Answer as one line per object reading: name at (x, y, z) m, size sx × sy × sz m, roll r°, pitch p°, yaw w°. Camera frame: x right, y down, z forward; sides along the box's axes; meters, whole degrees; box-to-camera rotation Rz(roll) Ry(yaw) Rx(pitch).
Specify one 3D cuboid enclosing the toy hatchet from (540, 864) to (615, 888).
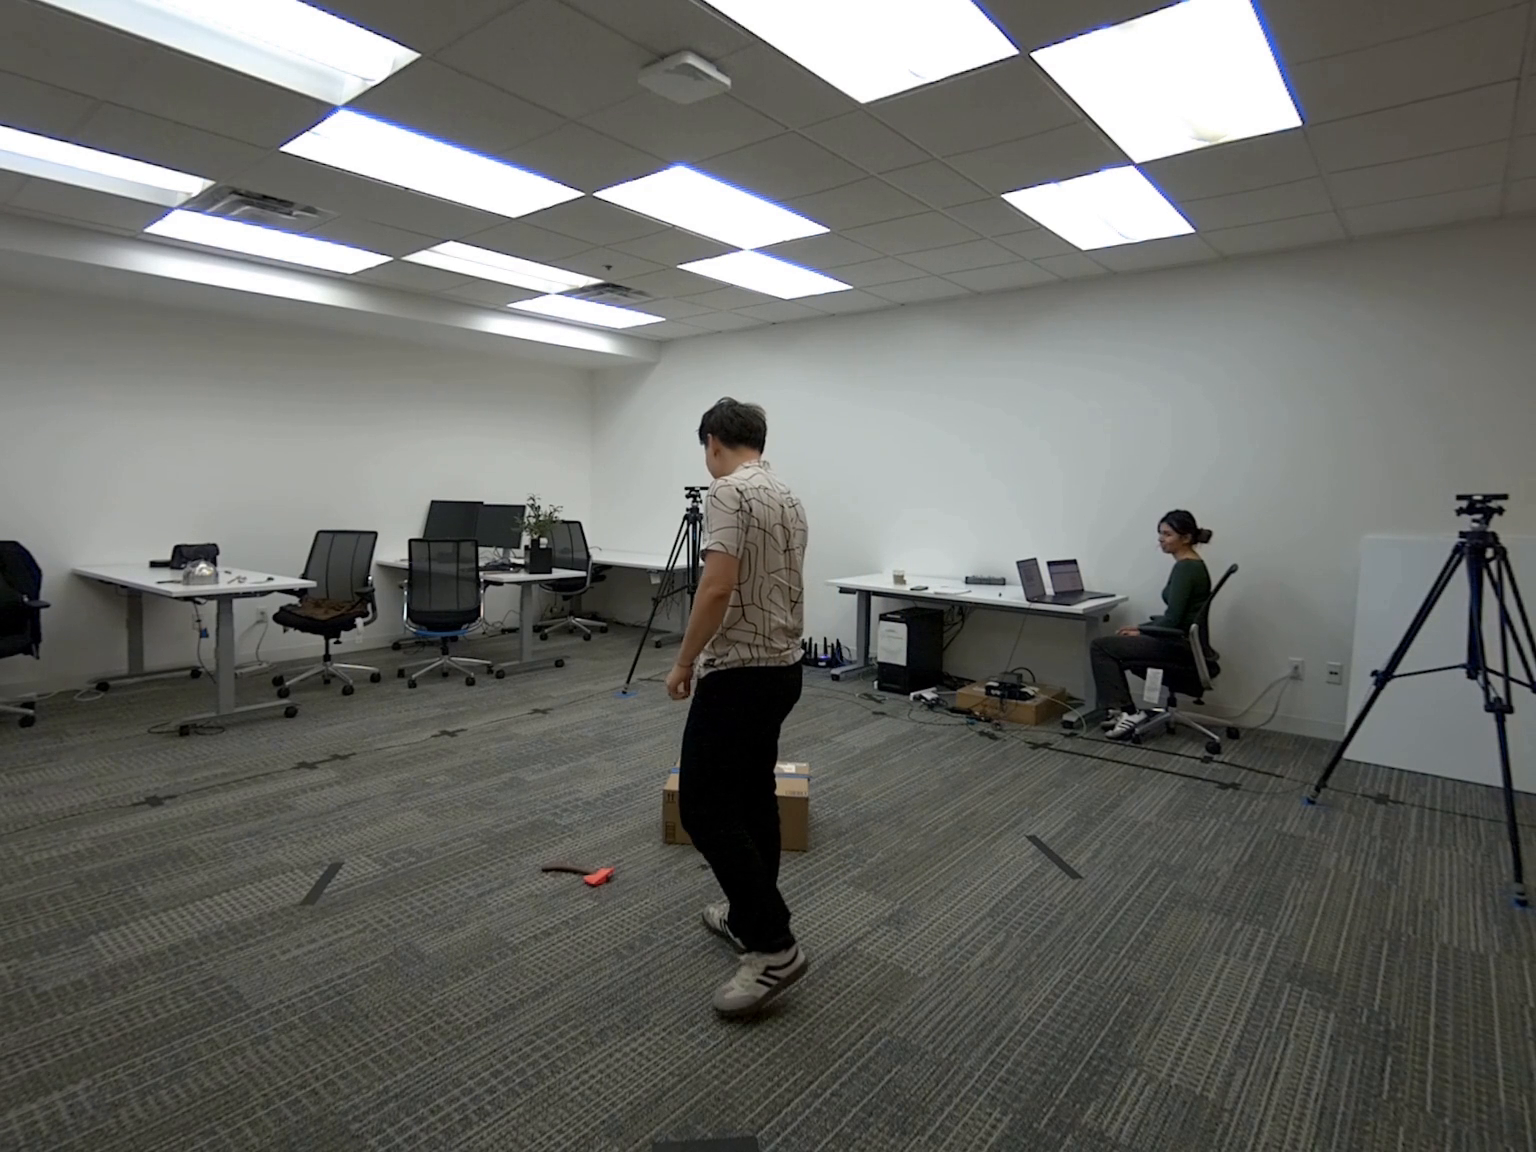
toy hatchet at (-0.697, 1.057, 3.012) m, size 0.272 × 0.029 × 0.131 m, roll 0°, pitch 8°, yaw 6°
